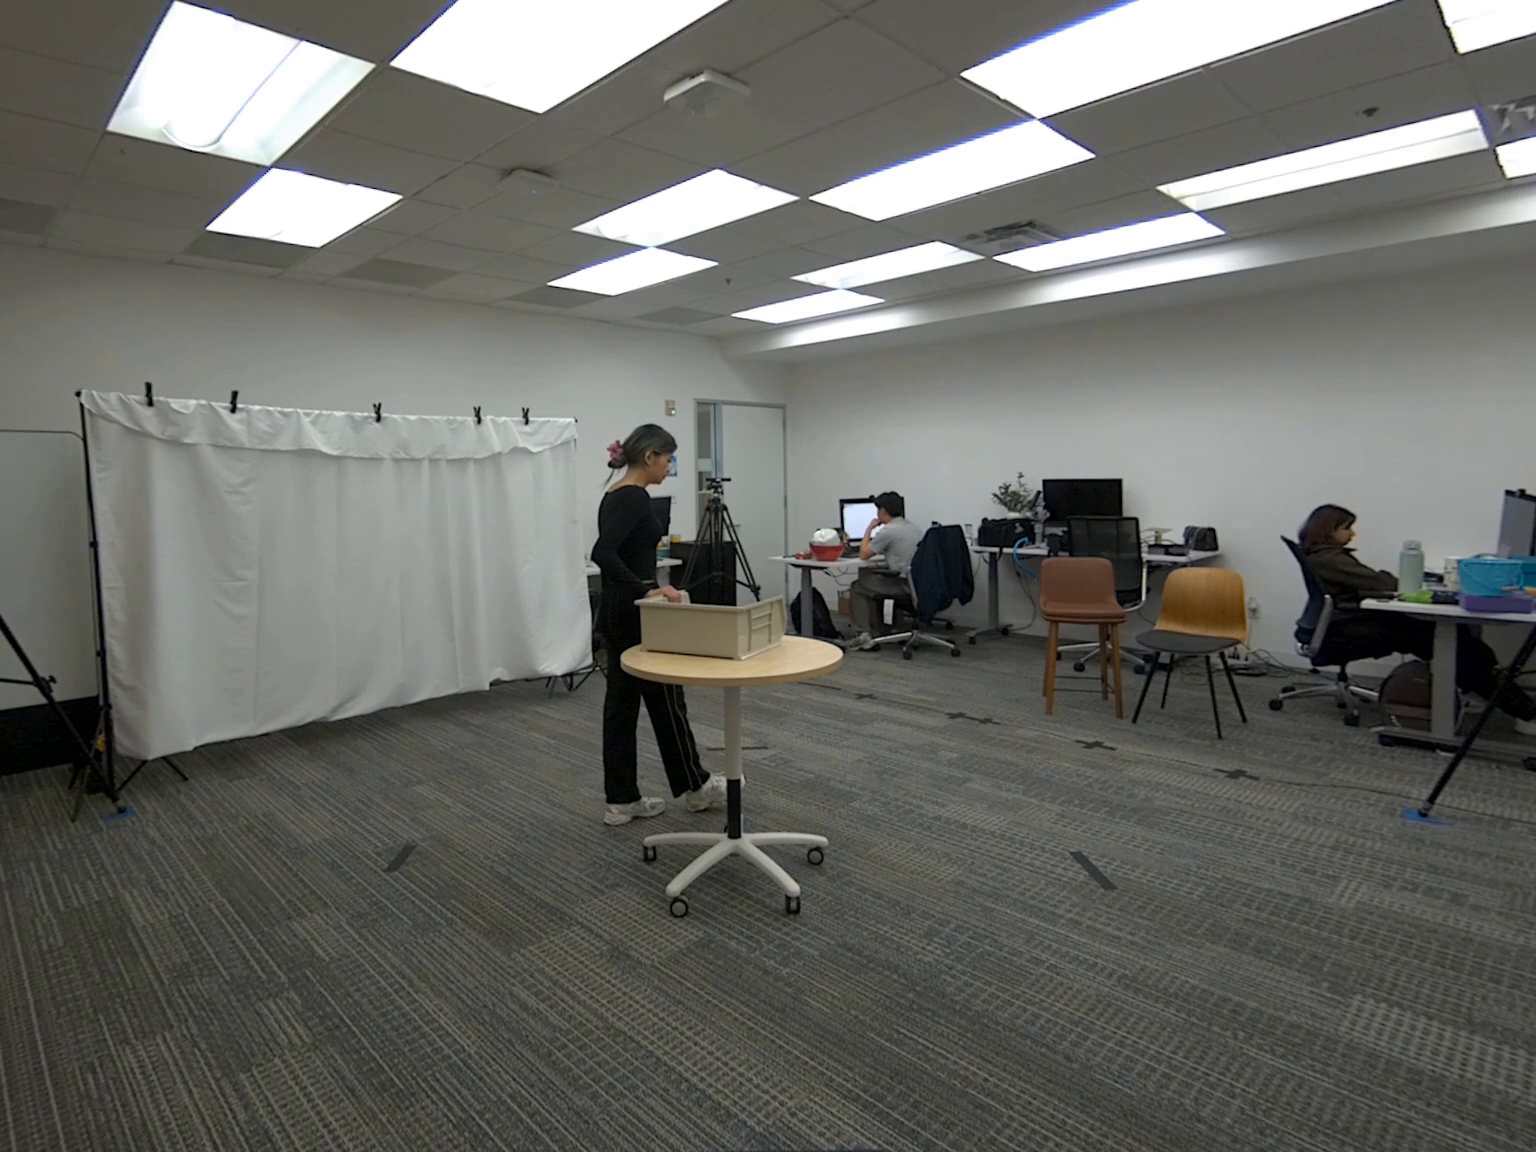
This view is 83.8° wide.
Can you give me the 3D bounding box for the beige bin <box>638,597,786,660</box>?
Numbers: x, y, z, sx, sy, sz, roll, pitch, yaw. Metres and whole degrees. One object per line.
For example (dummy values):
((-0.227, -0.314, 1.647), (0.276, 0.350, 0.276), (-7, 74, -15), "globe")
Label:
((-0.198, 0.165, 3.069), (0.433, 0.188, 0.370), (3, 8, 26), "beige bin")
